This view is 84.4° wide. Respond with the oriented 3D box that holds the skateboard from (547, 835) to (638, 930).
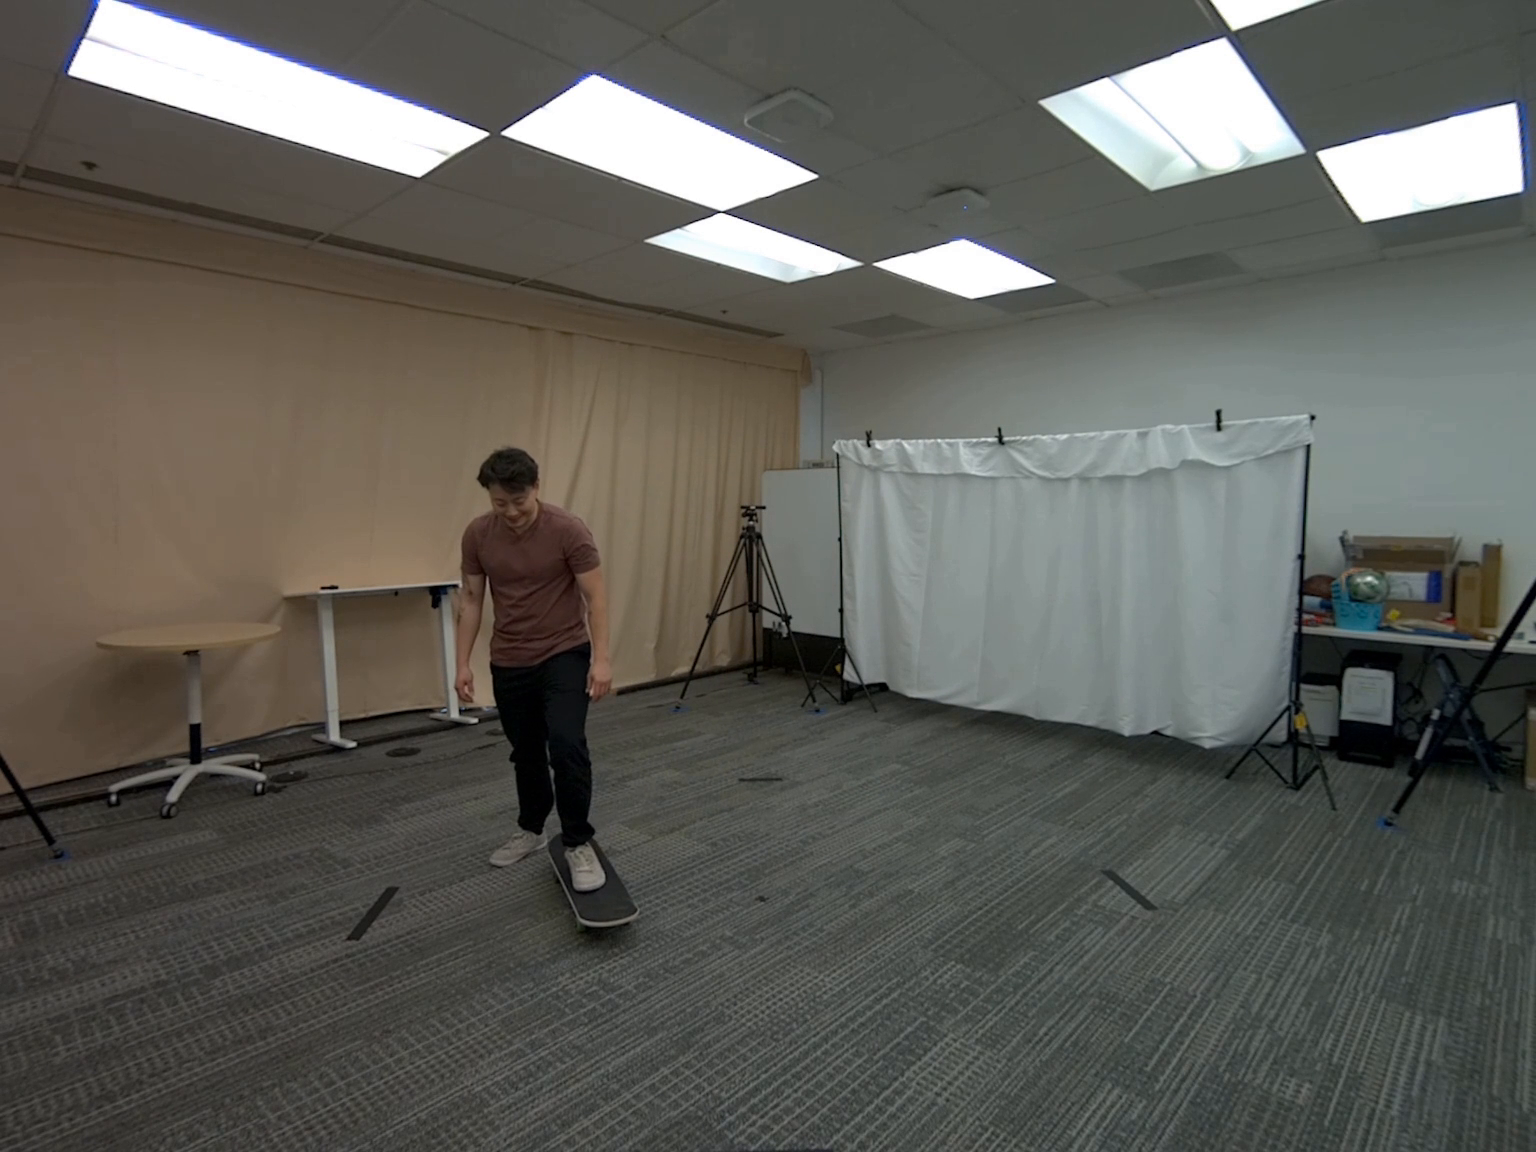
[{"bbox_3d":[-0.628,1.089,2.968,0.189,0.110,0.805,-5,6,-24],"label":"skateboard"}]
